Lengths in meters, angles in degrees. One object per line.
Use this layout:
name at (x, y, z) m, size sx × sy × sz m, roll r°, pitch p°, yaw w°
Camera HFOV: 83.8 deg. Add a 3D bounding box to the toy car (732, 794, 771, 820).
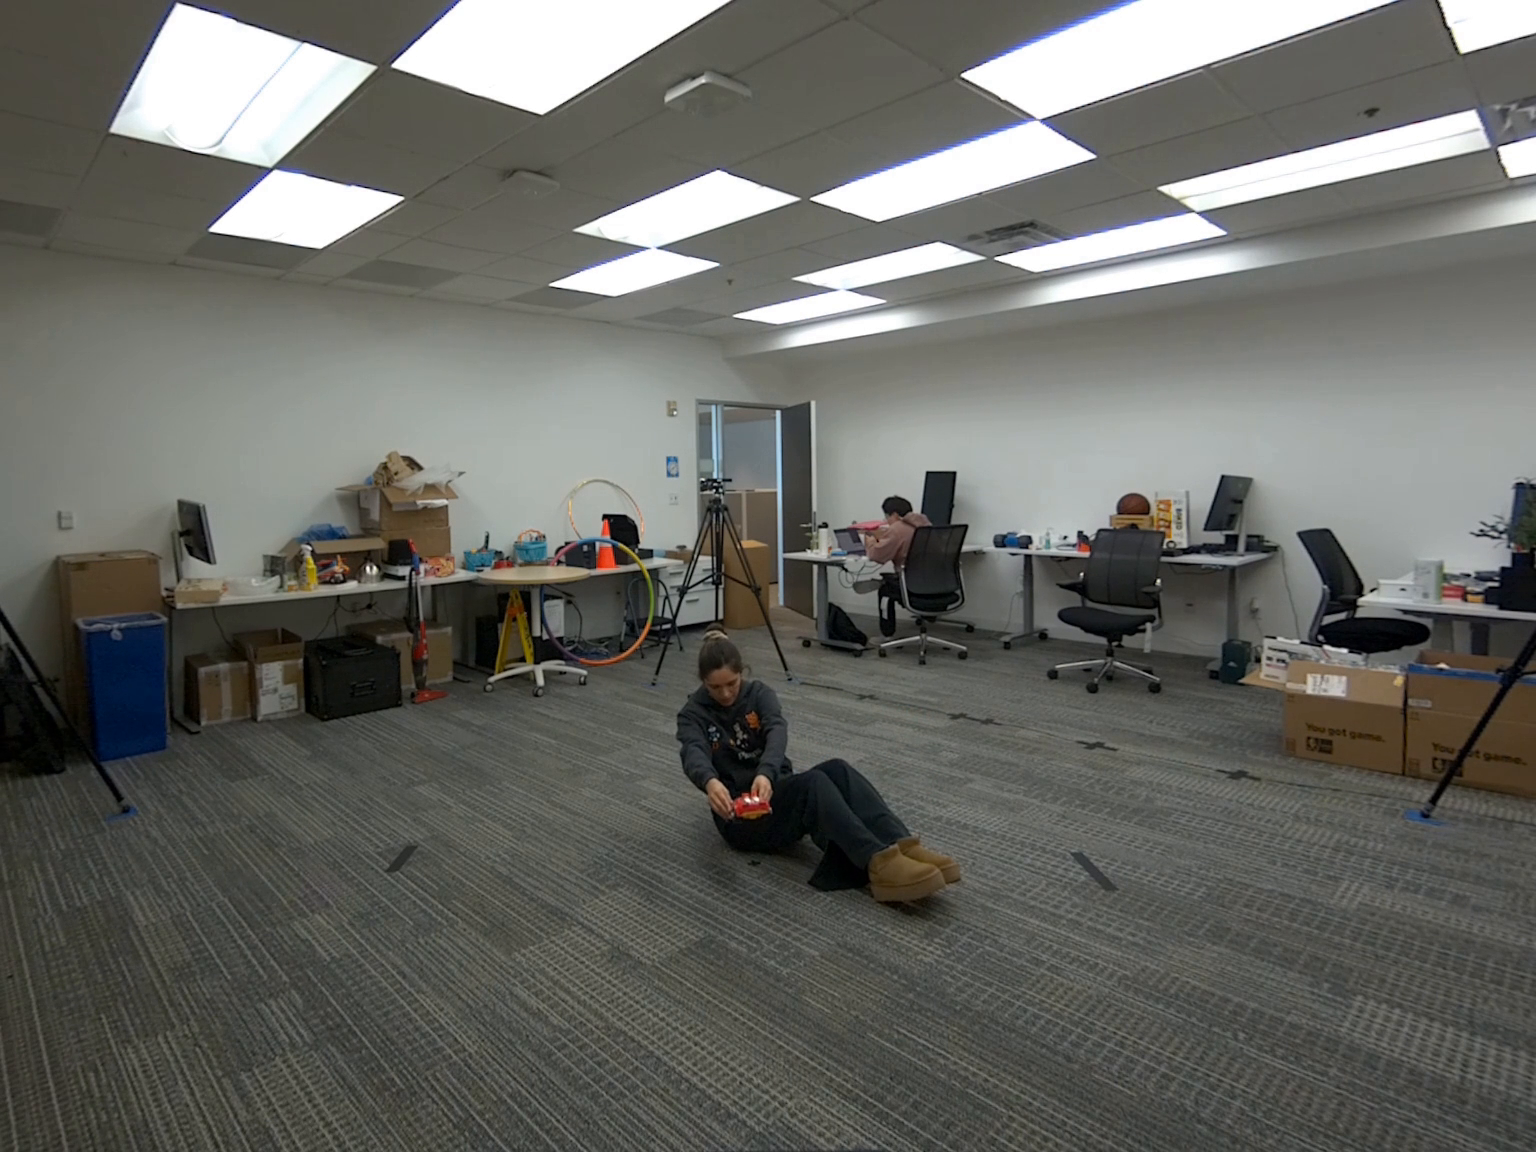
toy car at (-0.062, 0.747, 2.696) m, size 0.129 × 0.085 × 0.250 m, roll -3°, pitch -26°, yaw -10°
